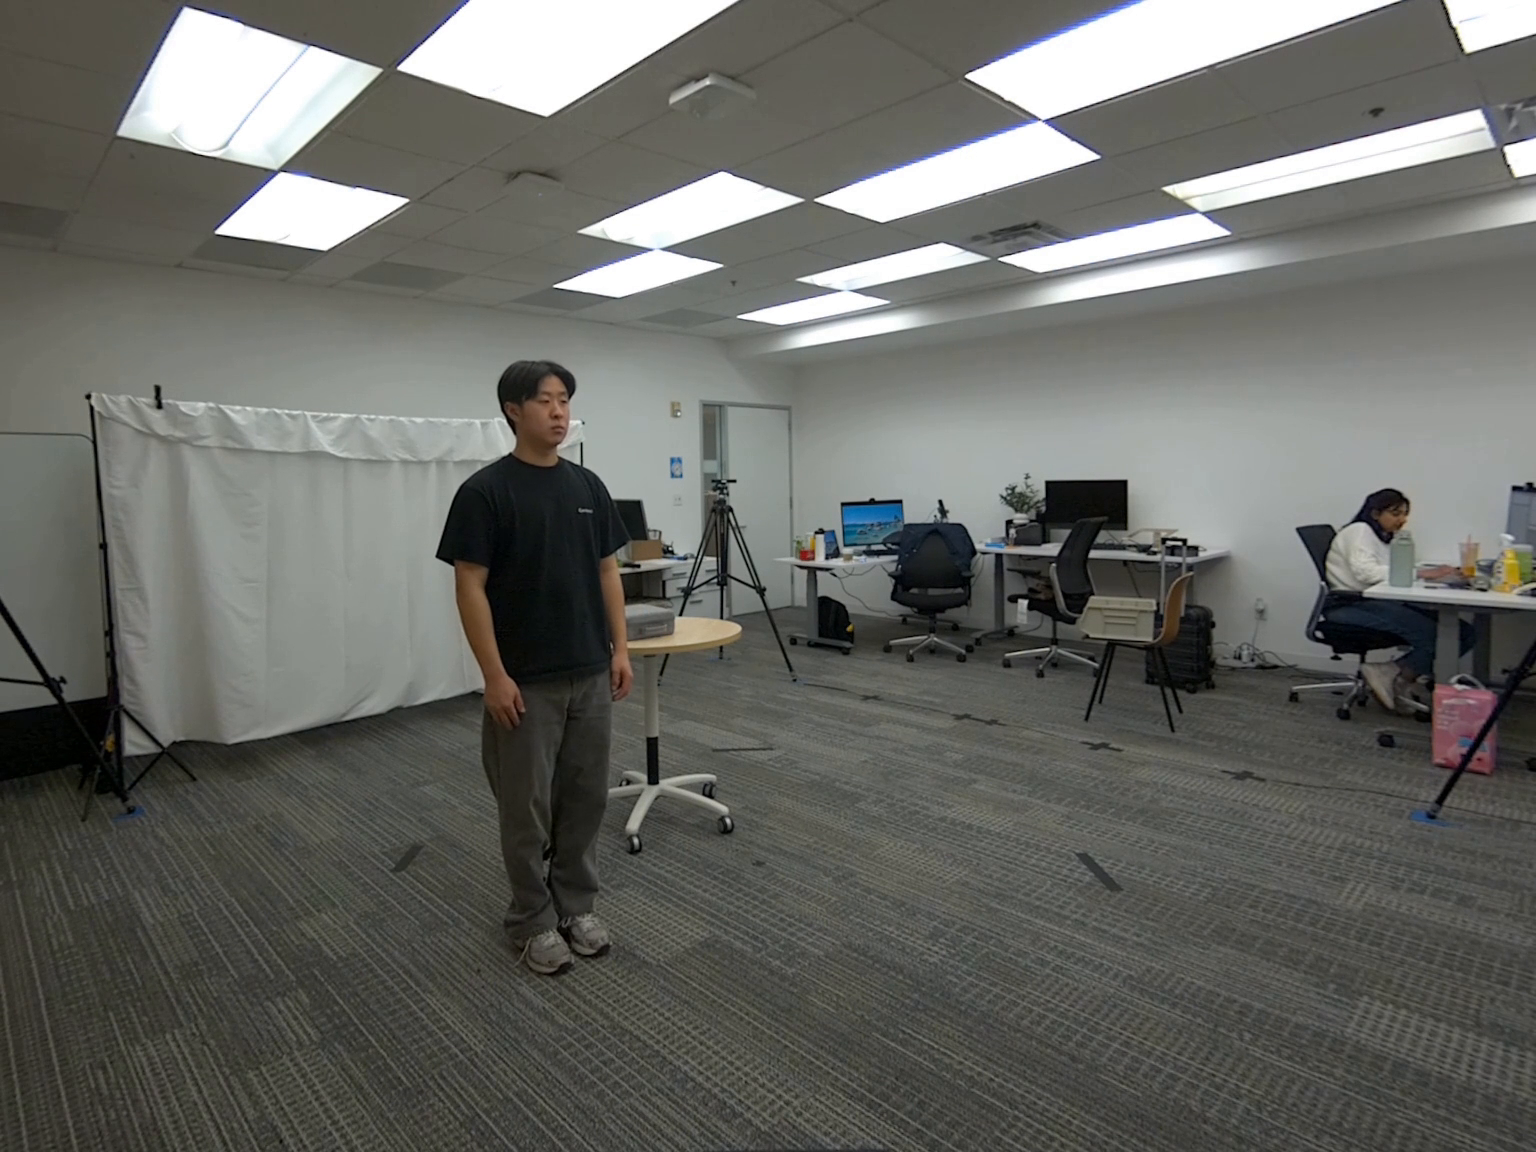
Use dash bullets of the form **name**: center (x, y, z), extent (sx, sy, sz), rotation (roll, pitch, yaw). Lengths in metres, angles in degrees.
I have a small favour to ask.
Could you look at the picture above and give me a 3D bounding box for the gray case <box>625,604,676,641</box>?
- **gray case**: center (-0.523, 0.183, 3.428), extent (0.256, 0.102, 0.296), rotation (-6, 9, -38)
